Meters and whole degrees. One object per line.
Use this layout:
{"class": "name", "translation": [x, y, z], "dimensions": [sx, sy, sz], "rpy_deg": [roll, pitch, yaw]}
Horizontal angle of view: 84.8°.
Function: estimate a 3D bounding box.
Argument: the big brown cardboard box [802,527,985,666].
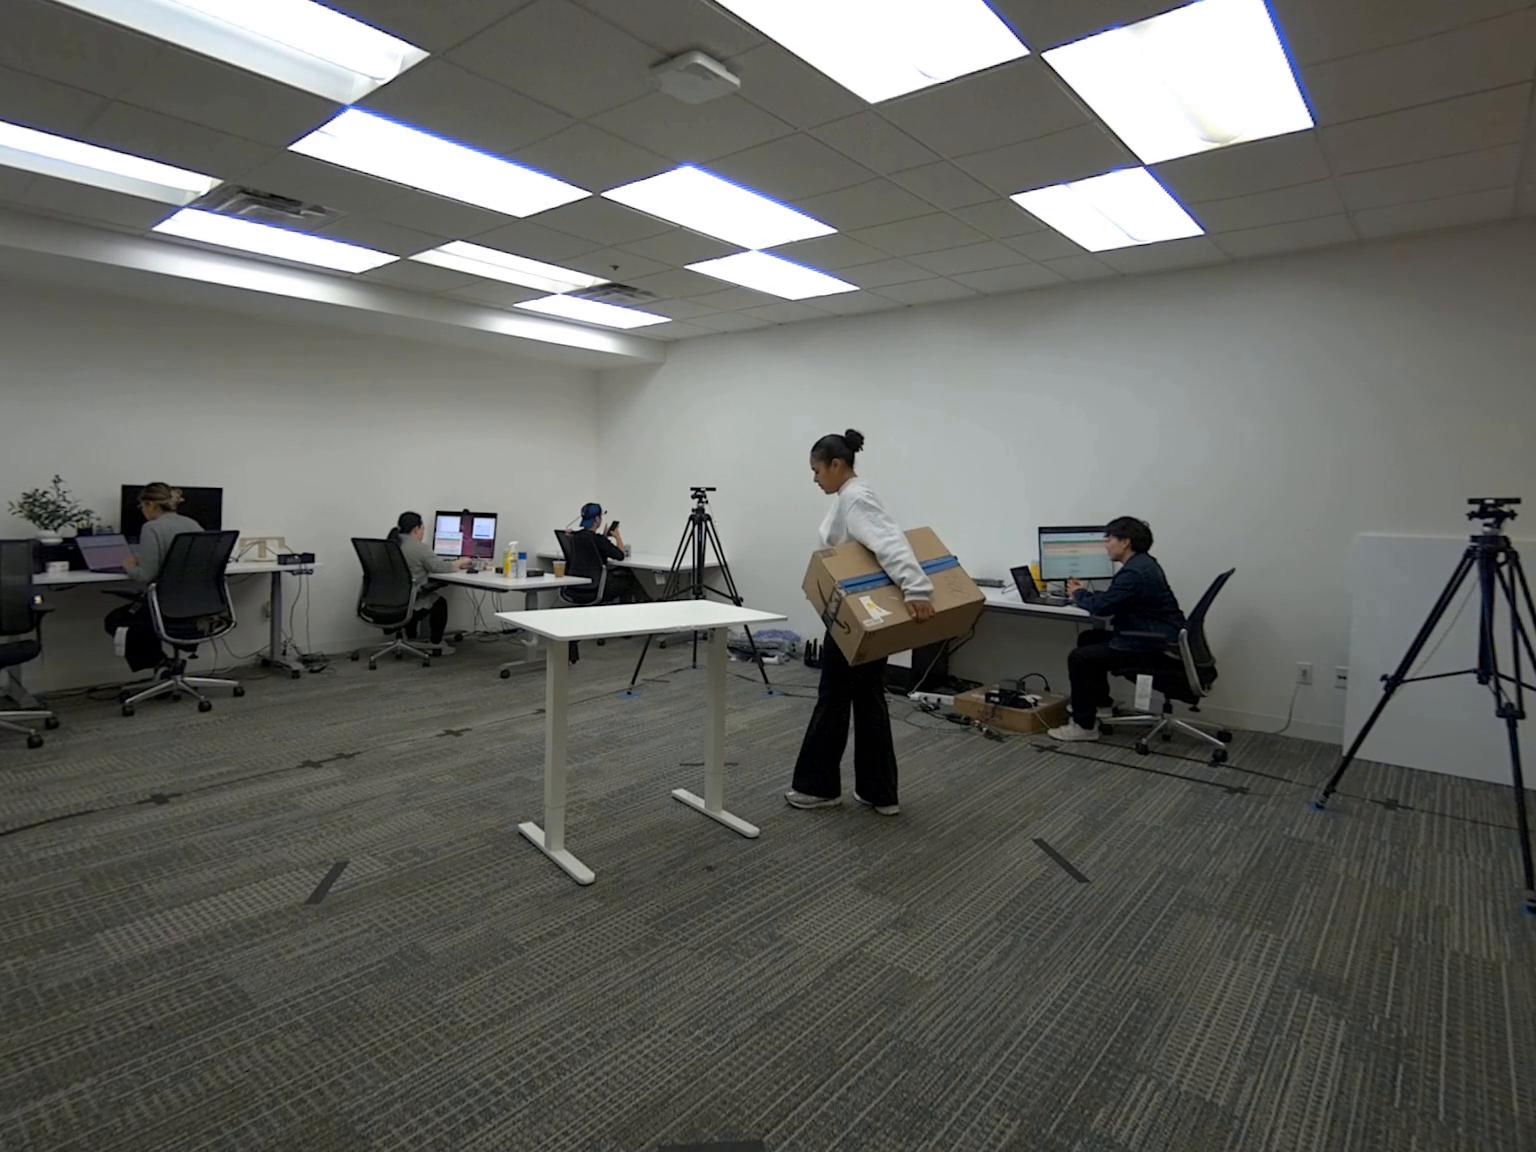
{"class": "big brown cardboard box", "translation": [0.474, 0.062, 3.367], "dimensions": [0.578, 0.228, 0.434], "rpy_deg": [-13, 51, -23]}
